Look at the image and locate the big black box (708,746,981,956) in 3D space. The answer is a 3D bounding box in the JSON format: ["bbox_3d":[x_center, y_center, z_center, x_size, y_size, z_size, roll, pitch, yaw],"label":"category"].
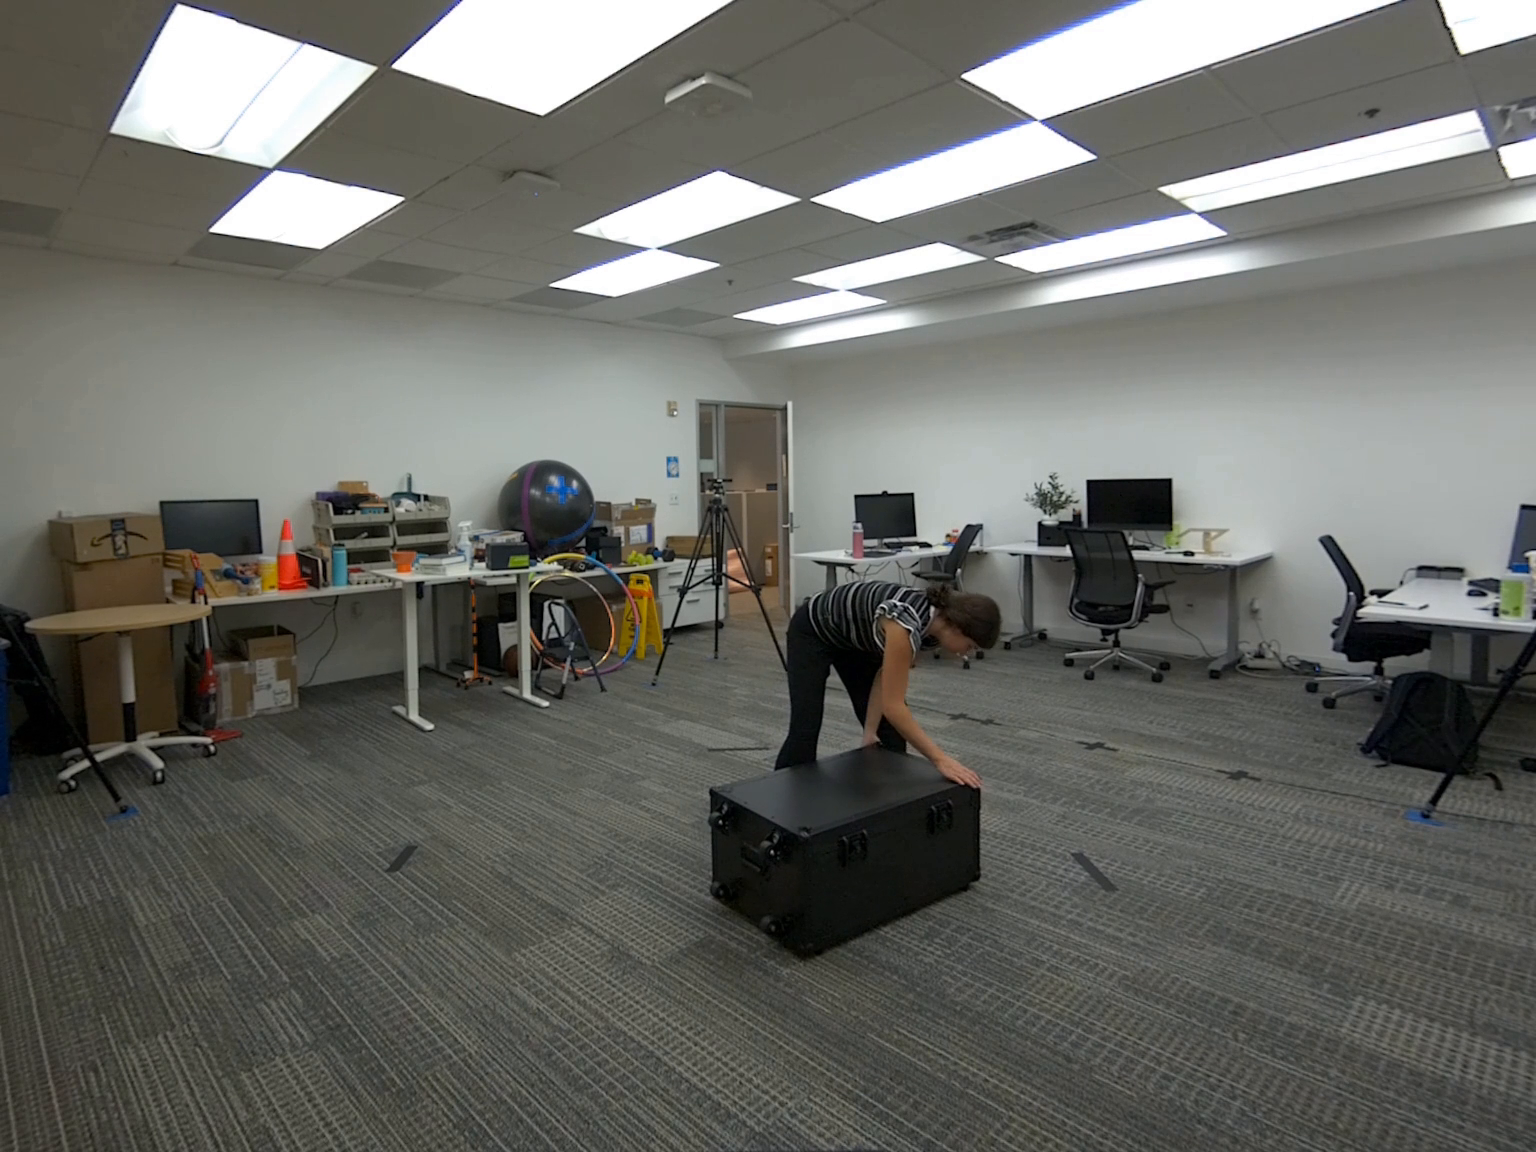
[{"bbox_3d":[0.237,0.883,2.842,0.839,0.395,0.537,-4,6,-36],"label":"big black box"}]
